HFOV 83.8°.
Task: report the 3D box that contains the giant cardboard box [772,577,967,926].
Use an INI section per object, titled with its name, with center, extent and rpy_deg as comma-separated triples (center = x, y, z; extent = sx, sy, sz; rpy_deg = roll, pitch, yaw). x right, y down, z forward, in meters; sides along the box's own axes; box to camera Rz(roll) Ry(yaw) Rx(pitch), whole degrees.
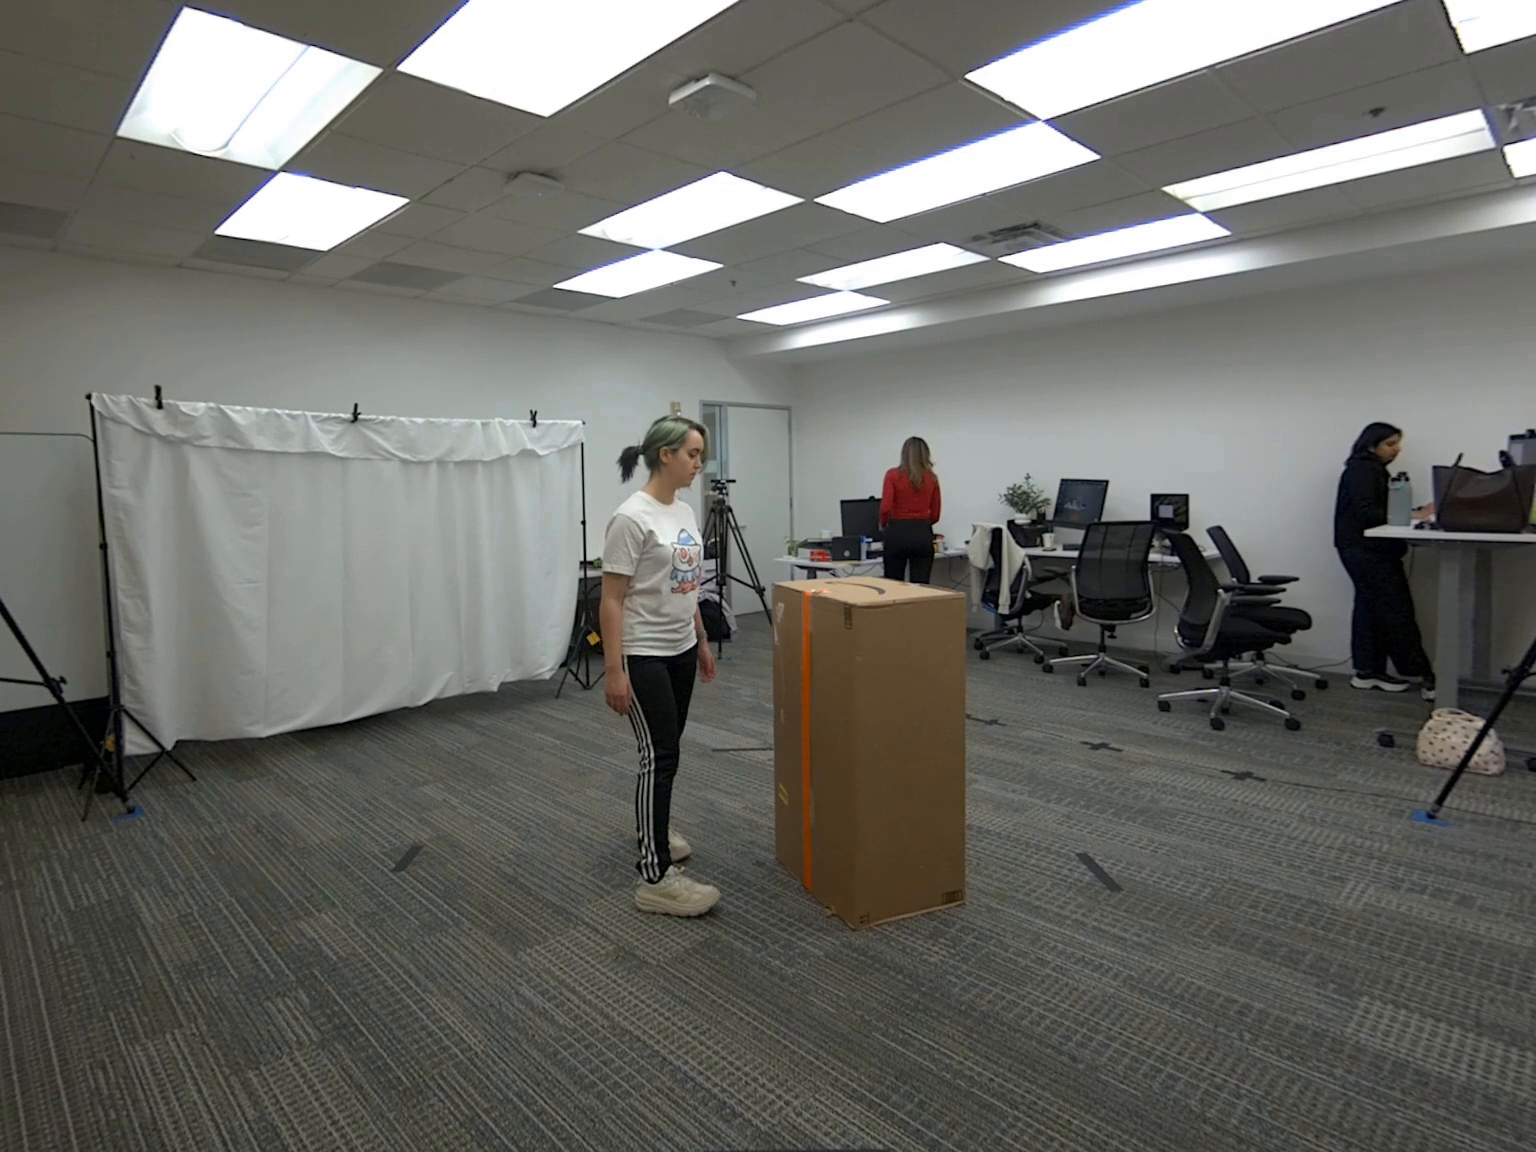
[giant cardboard box]
center = 0.330, 0.549, 2.939
extent = 0.437, 1.023, 0.599
rpy_deg = -2, 5, -25
